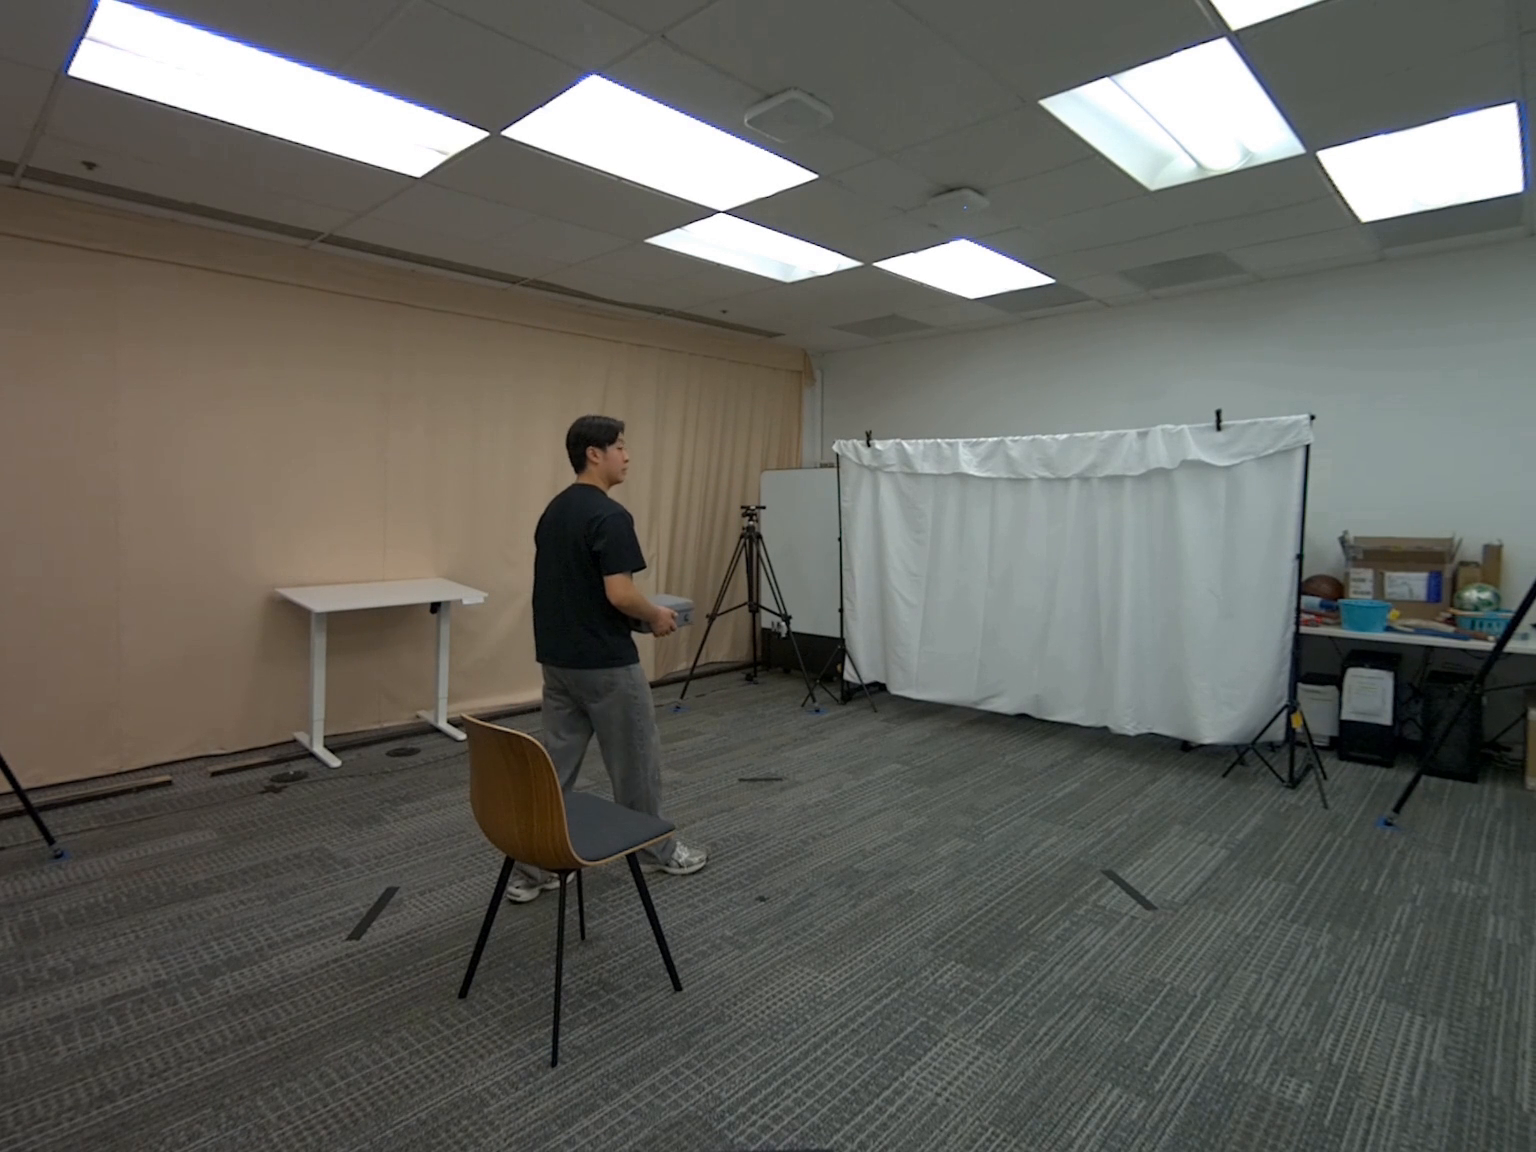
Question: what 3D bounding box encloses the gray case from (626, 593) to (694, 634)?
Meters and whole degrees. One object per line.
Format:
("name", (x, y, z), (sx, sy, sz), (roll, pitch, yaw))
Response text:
("gray case", (-0.439, 0.142, 3.297), (0.279, 0.102, 0.272), (-6, 9, -34))
